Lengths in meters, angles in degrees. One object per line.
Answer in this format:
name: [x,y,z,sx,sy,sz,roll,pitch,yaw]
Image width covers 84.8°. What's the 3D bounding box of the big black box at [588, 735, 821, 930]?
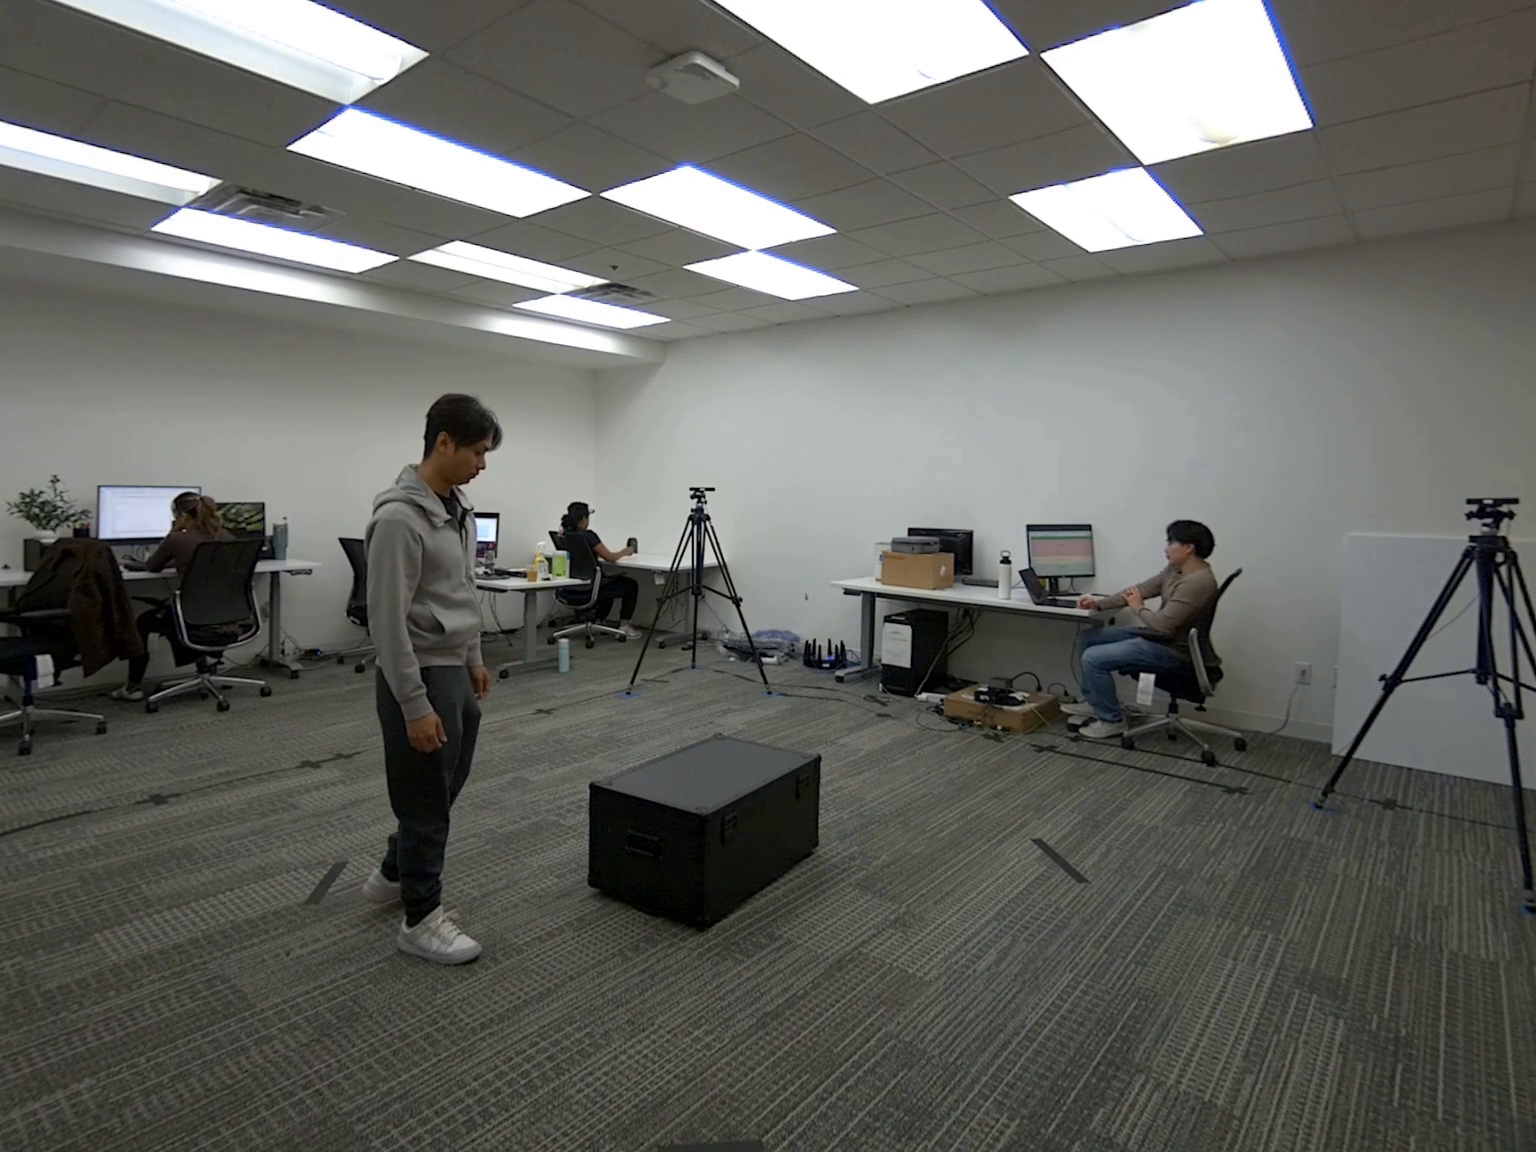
big black box: [-0.197,0.876,3.101,0.537,0.395,0.839,4,6,31]
